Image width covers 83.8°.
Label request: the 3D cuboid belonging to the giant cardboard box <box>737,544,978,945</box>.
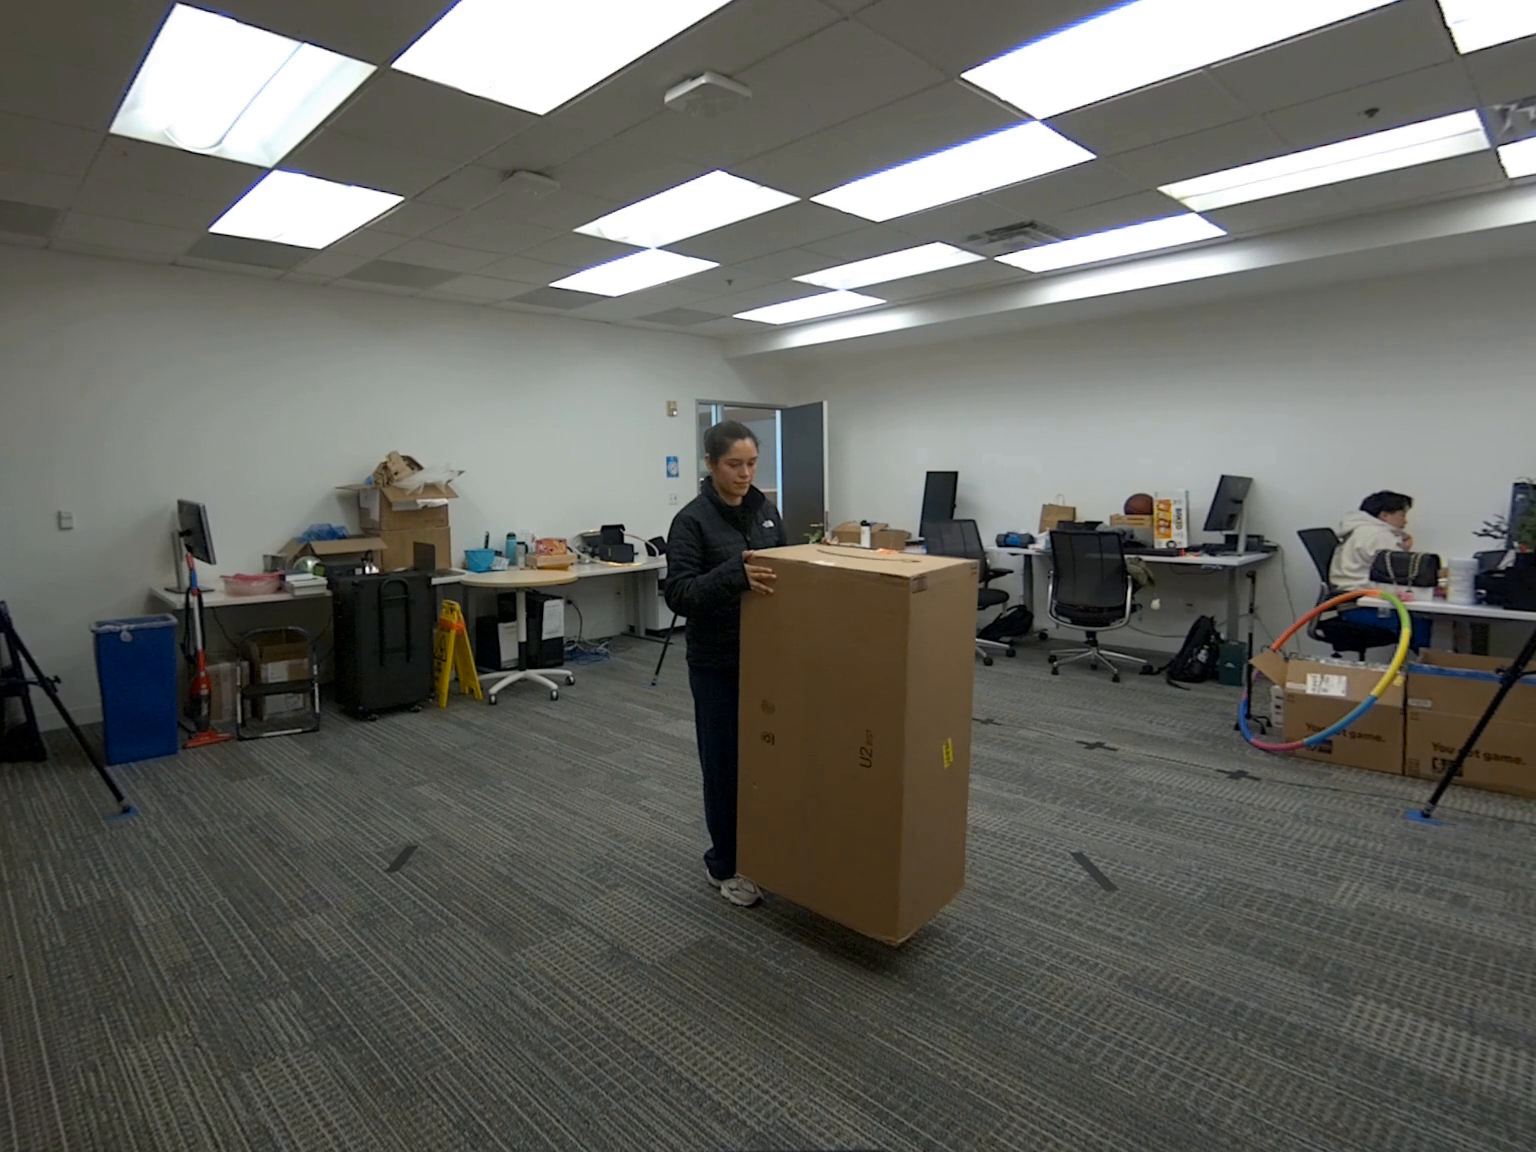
[{"bbox_3d":[0.267,0.457,2.613,0.596,1.020,0.415,7,9,39],"label":"giant cardboard box"}]
